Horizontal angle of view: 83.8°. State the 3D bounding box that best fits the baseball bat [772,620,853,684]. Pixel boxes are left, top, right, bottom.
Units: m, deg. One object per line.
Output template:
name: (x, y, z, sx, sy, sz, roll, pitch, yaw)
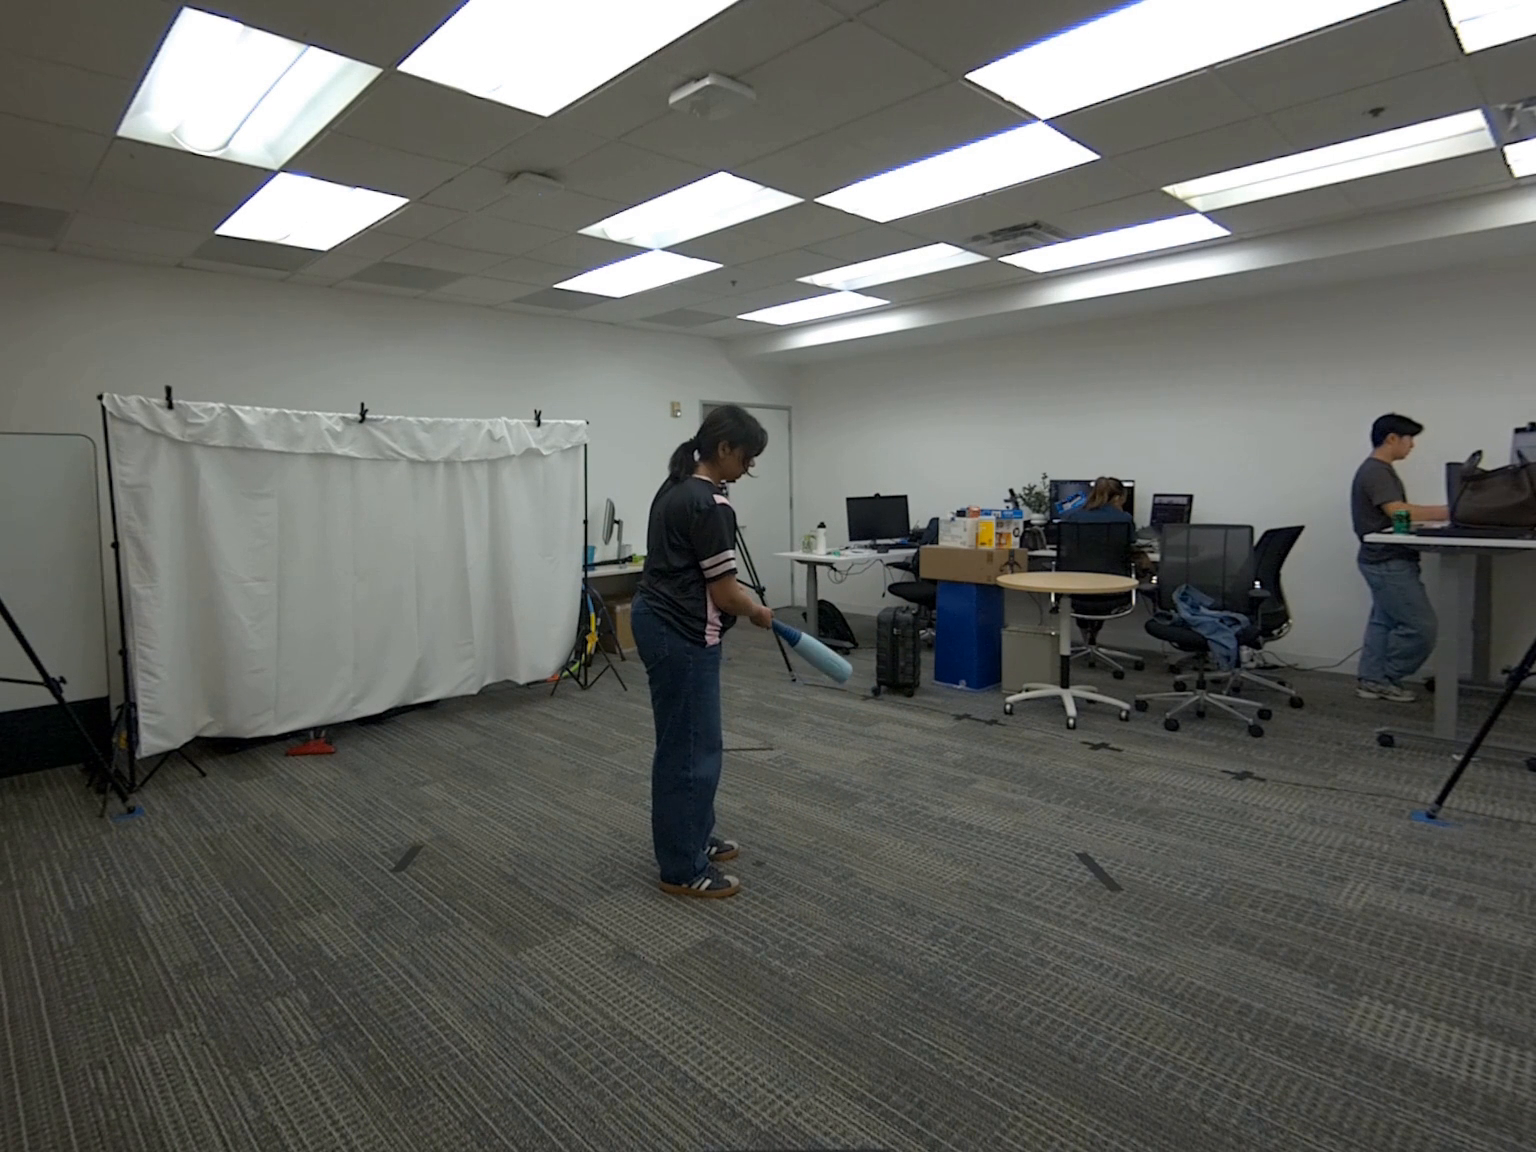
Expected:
baseball bat: (0.085, 0.223, 3.150, 0.532, 0.089, 0.090, 34, -6, -15)
